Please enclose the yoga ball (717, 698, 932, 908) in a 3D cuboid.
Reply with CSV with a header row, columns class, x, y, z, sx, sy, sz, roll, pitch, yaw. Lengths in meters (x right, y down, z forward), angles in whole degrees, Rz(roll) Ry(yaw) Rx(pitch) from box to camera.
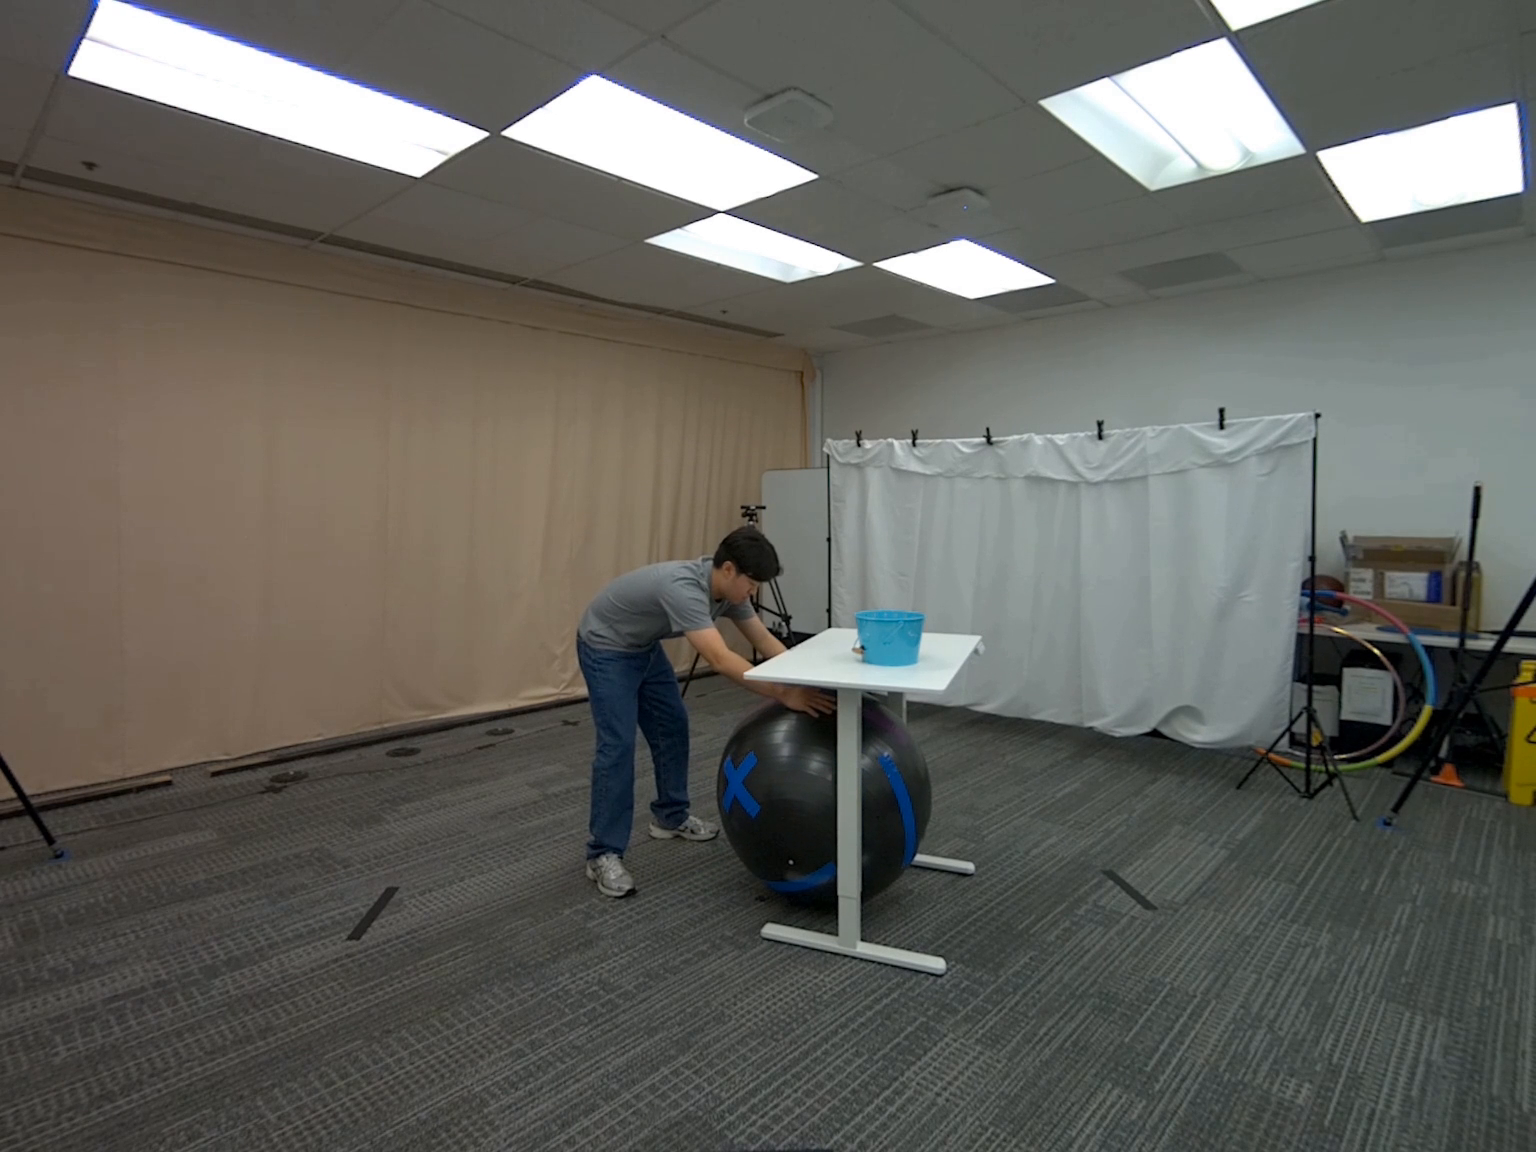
class,x,y,z,sx,sy,sz,roll,pitch,yaw
yoga ball,0.197,0.768,3.016,0.757,0.756,0.760,0,4,-2
